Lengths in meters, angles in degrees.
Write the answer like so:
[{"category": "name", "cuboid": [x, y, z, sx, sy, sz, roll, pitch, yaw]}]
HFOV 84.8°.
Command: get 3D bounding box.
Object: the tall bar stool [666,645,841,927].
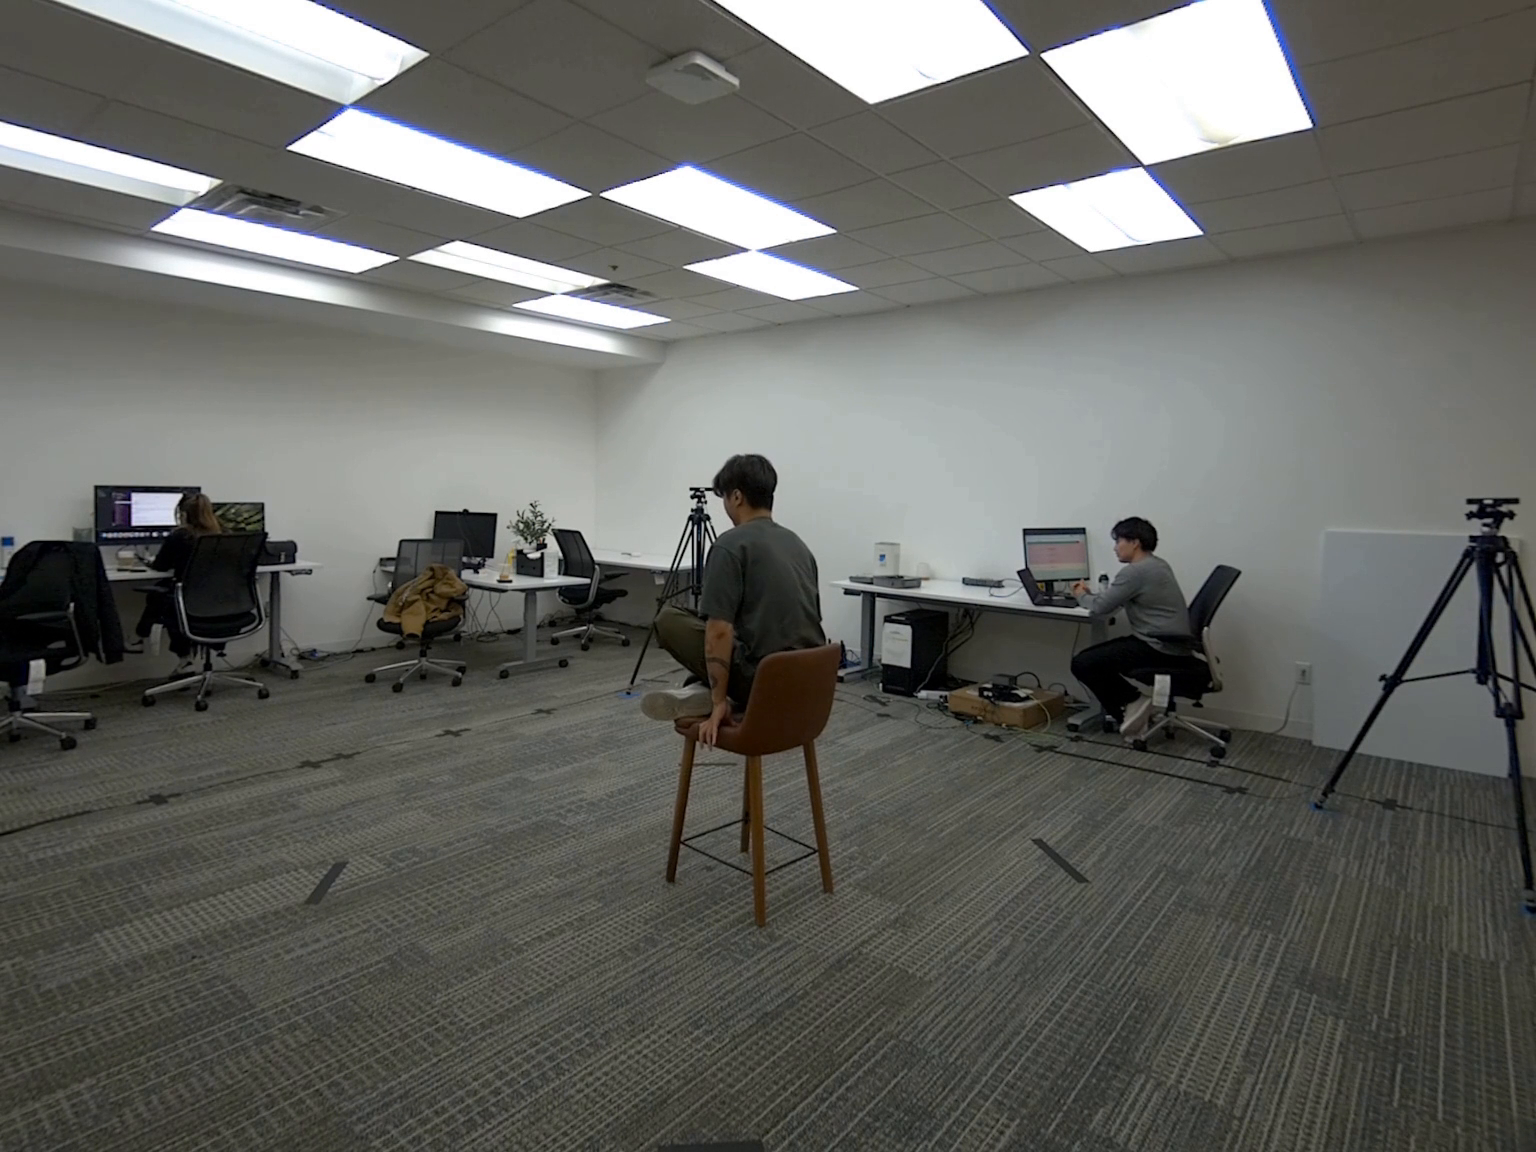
[{"category": "tall bar stool", "cuboid": [-0.053, 0.650, 2.953, 0.484, 0.886, 0.442, 8, 7, 44]}]
